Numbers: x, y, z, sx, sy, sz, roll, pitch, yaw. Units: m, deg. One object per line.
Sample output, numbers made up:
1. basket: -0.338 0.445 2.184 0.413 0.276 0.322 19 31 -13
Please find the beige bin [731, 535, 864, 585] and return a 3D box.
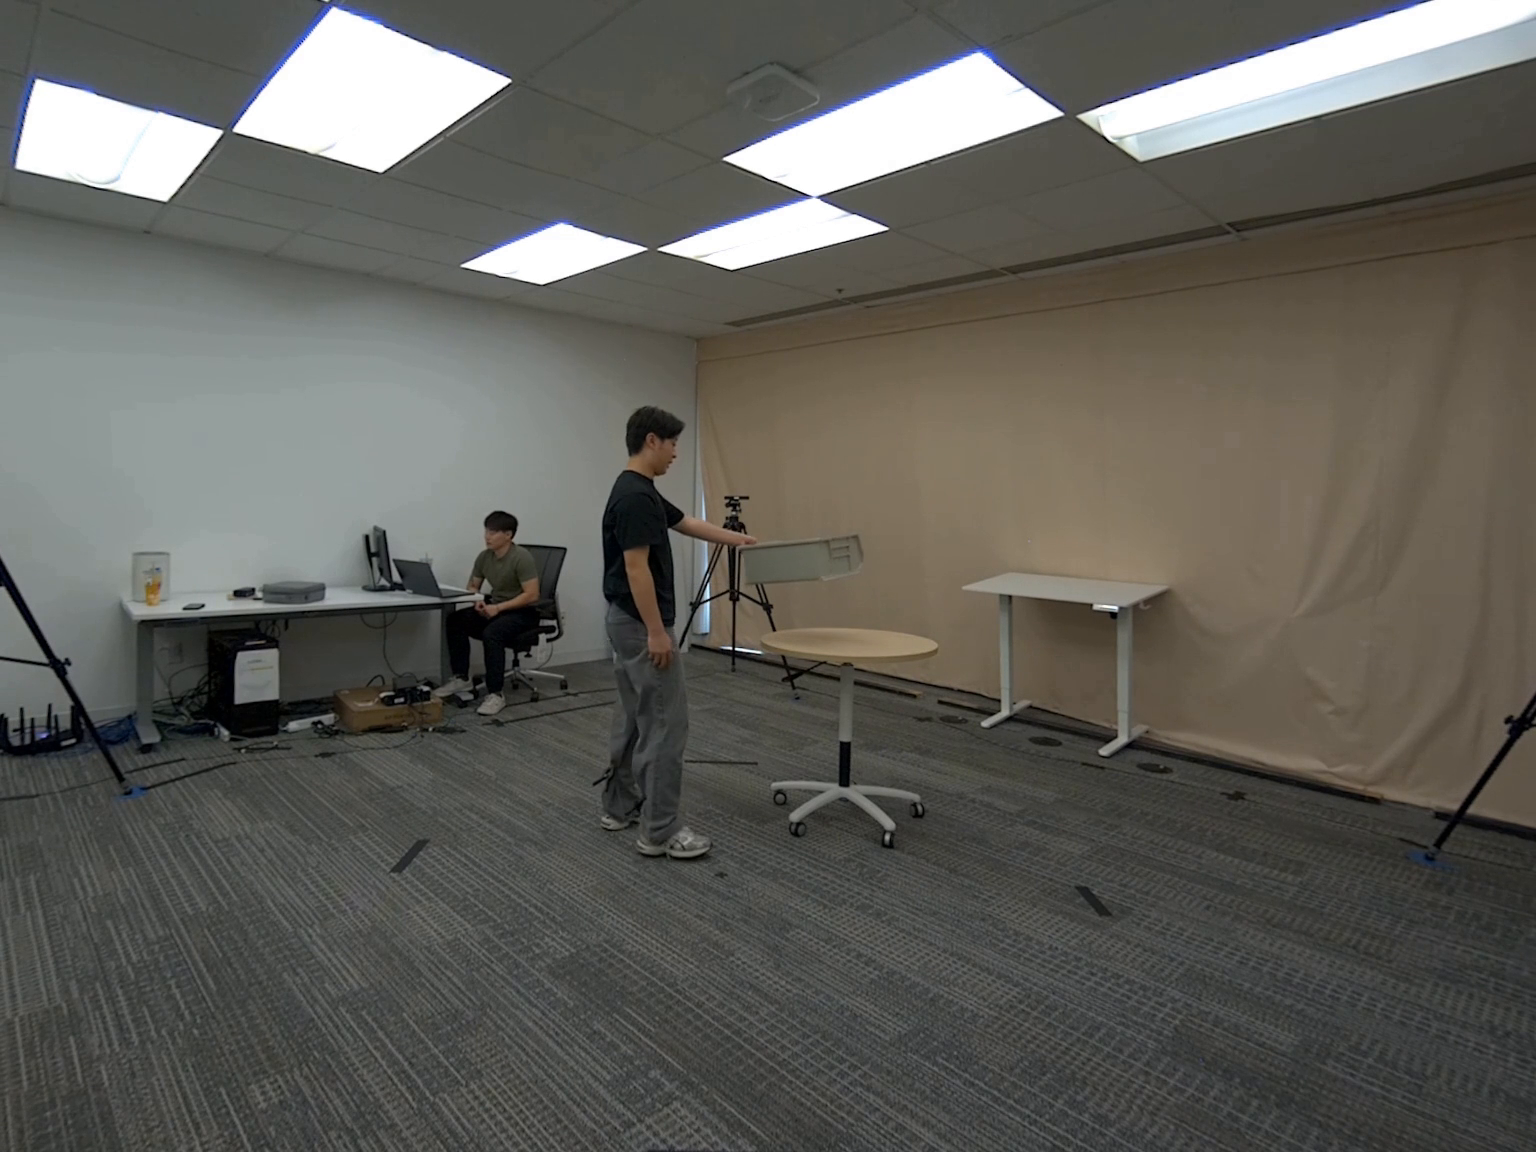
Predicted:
1. beige bin: 0.145 -0.070 3.736 0.431 0.188 0.371 -3 6 33
